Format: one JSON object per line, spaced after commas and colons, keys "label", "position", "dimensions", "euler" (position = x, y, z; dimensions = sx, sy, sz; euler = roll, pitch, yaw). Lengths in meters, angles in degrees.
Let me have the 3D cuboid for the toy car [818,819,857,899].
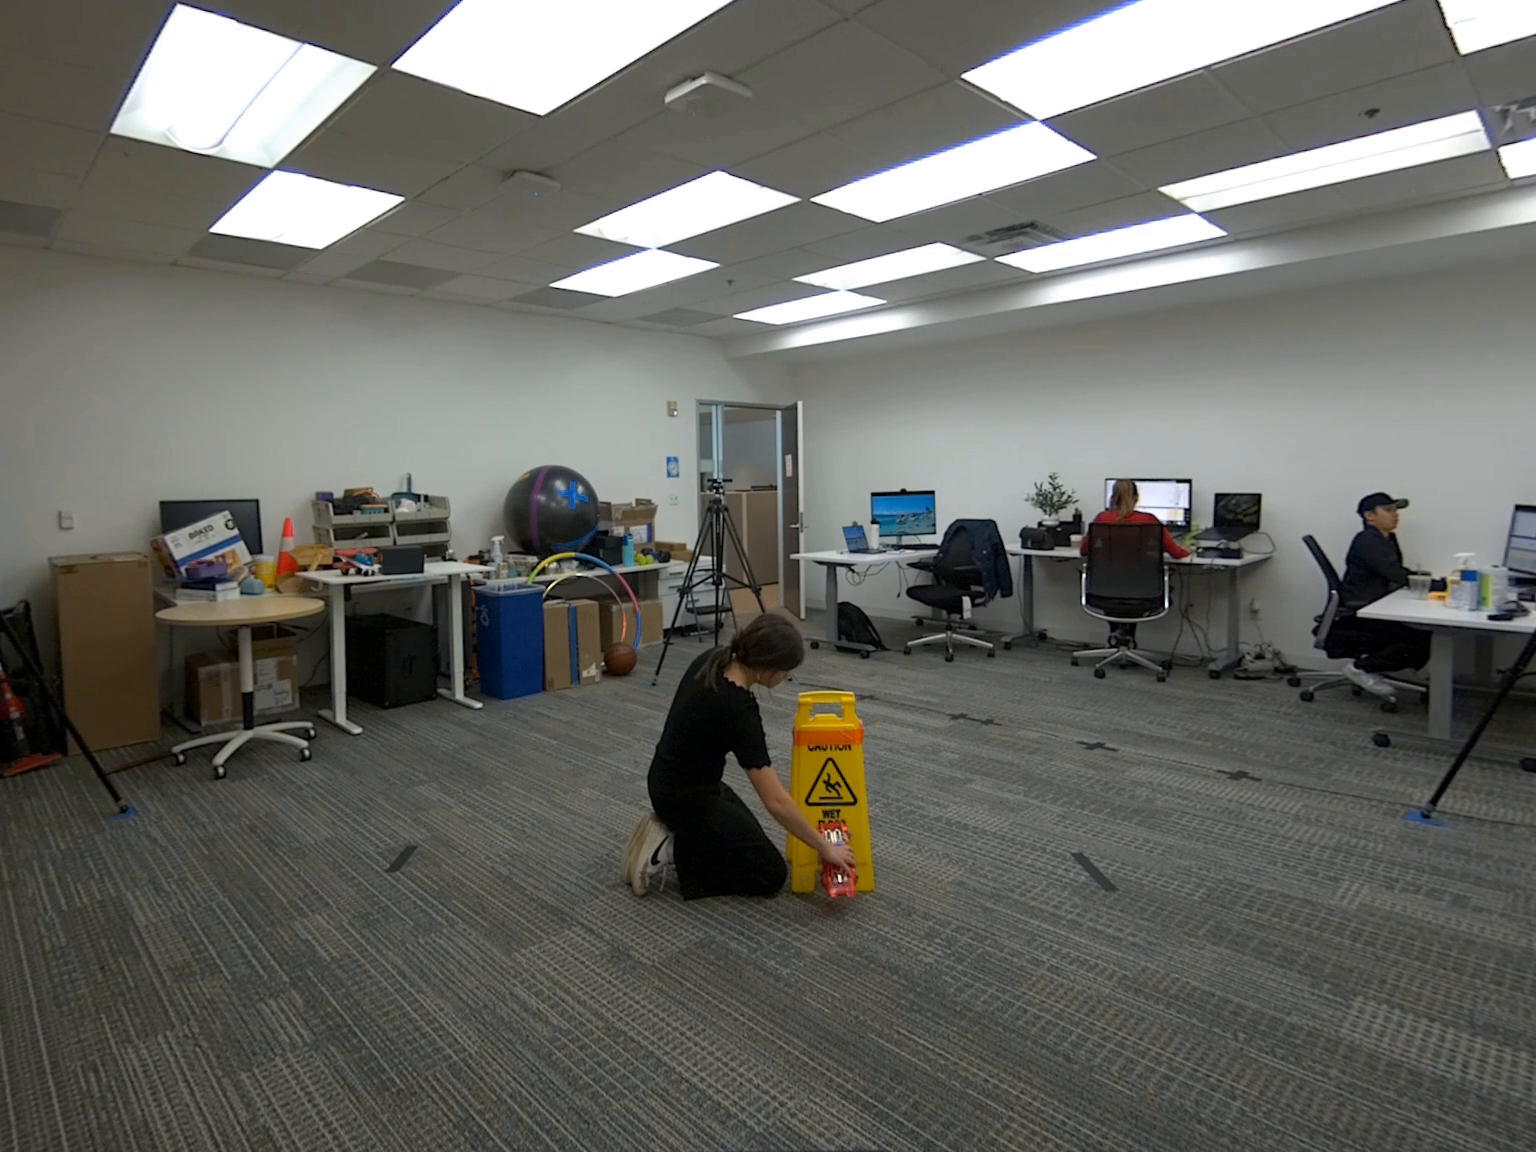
{"label": "toy car", "position": [0.212, 0.934, 2.799], "dimensions": [0.130, 0.081, 0.262], "euler": [-6, 38, -1]}
